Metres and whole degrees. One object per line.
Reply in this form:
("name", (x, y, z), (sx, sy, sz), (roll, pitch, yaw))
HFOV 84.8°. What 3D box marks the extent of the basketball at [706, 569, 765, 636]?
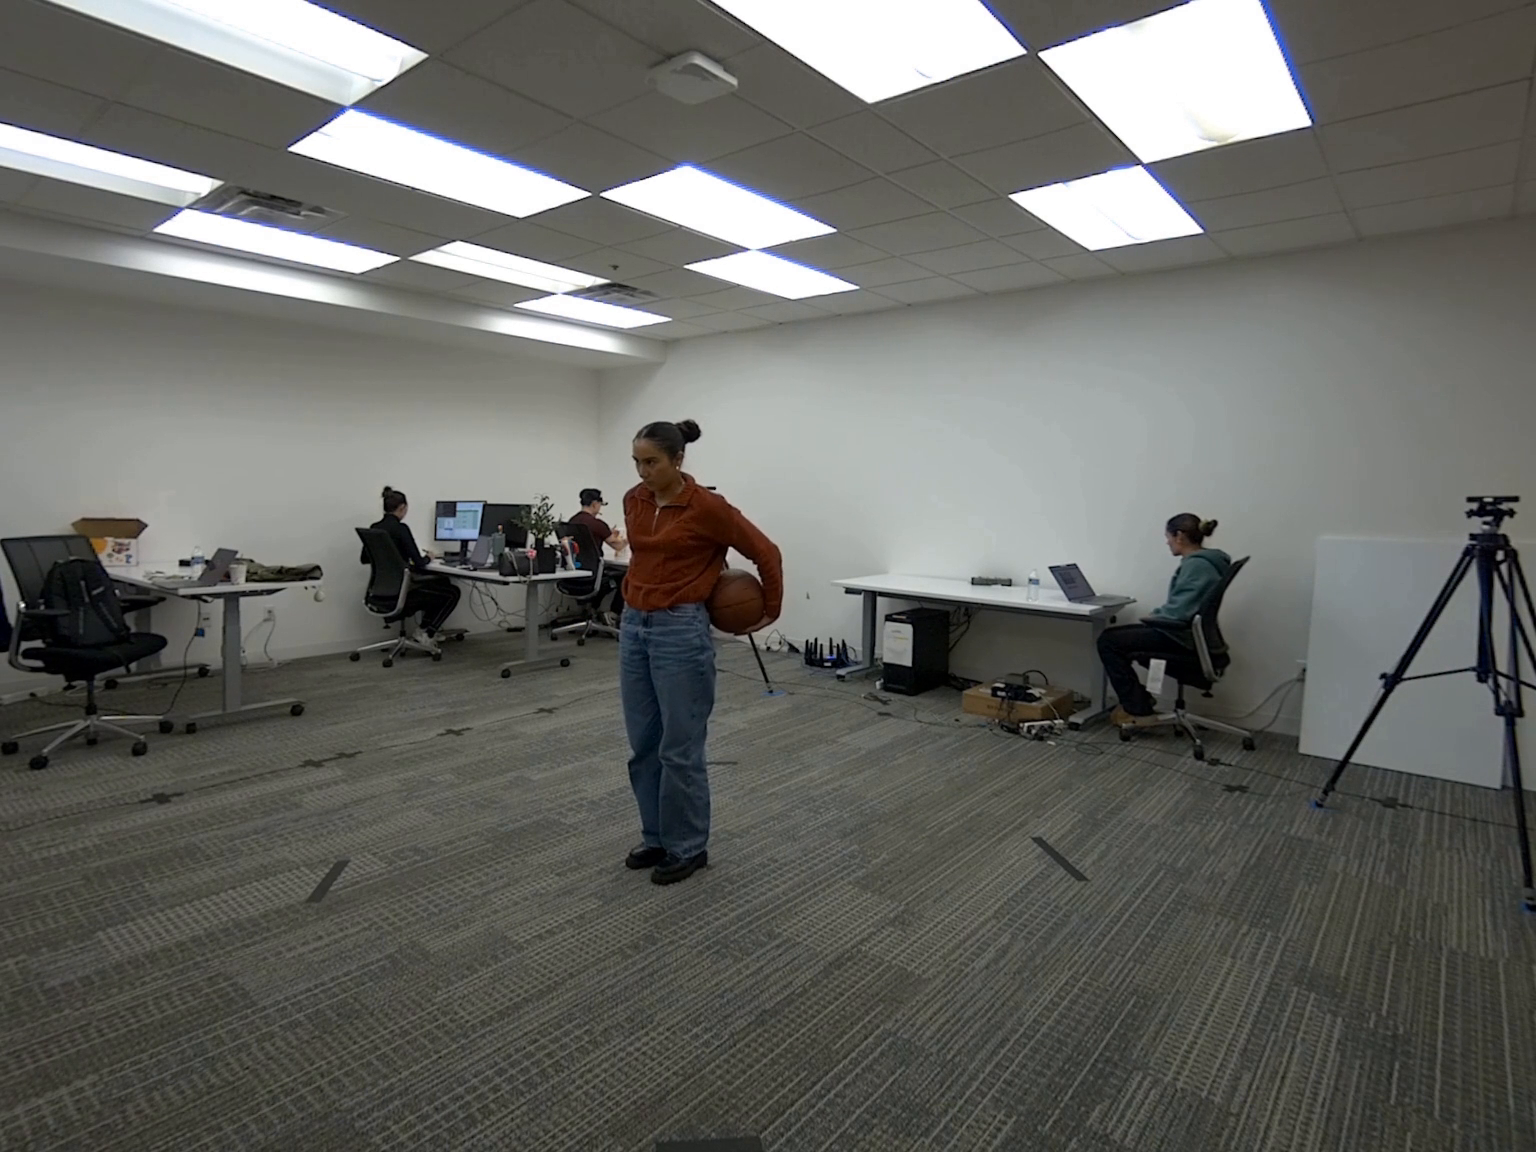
("basketball", (-0.151, 0.086, 3.110), (0.235, 0.235, 0.237), (1, 4, -2))
